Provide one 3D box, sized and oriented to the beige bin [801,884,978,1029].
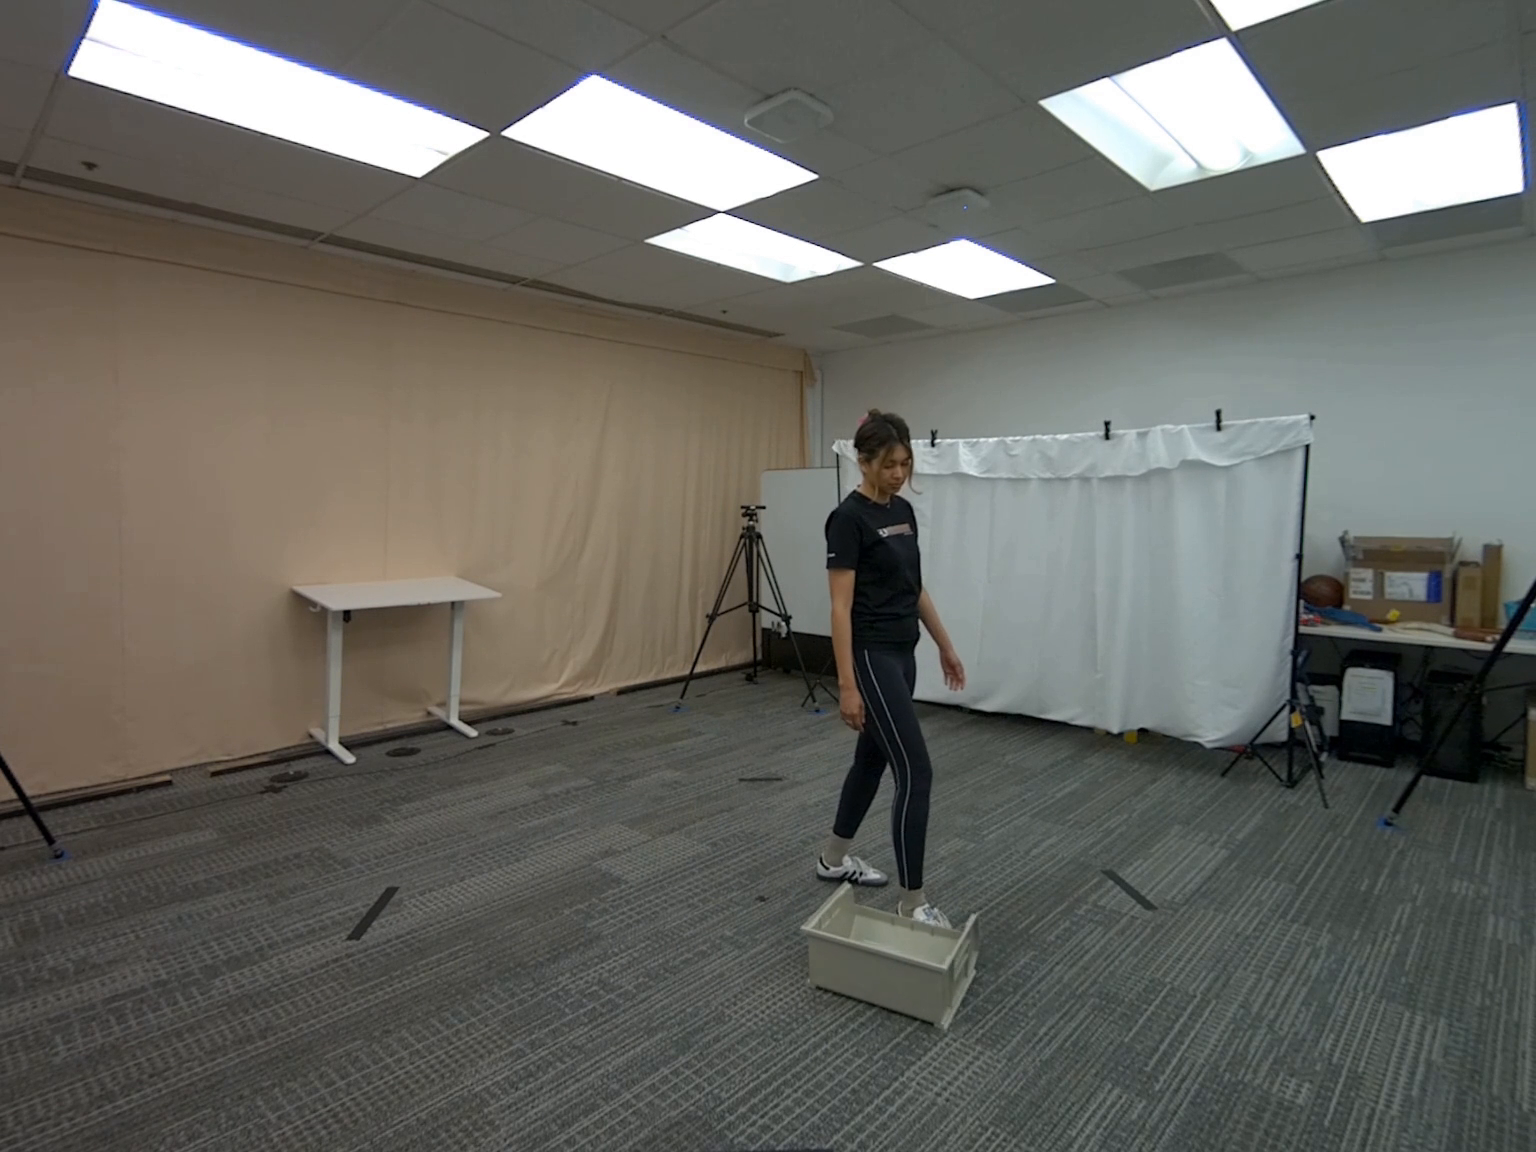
[{"bbox_3d":[0.381,1.093,2.485,0.434,0.188,0.368,2,7,29],"label":"beige bin"}]
